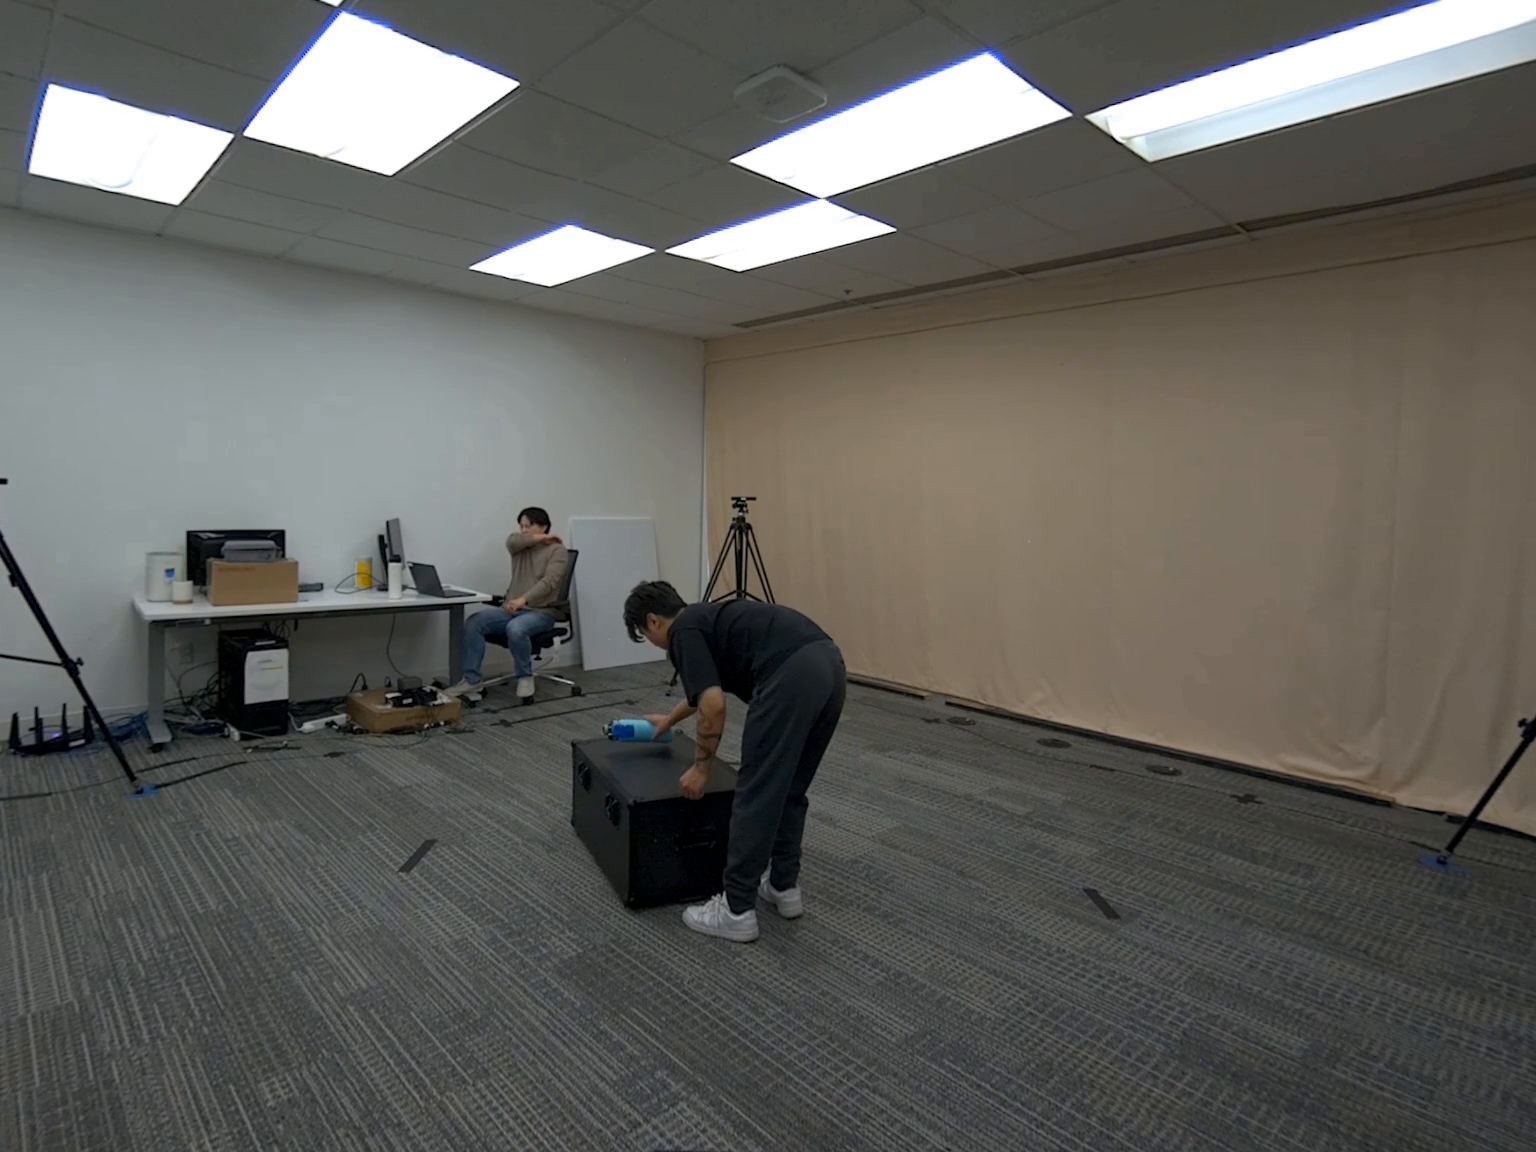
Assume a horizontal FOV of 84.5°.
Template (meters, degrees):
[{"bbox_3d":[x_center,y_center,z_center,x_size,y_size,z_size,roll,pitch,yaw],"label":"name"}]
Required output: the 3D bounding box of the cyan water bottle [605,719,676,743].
[{"bbox_3d":[-0.519,0.626,3.373,0.277,0.092,0.094,8,1,-26],"label":"cyan water bottle"}]
